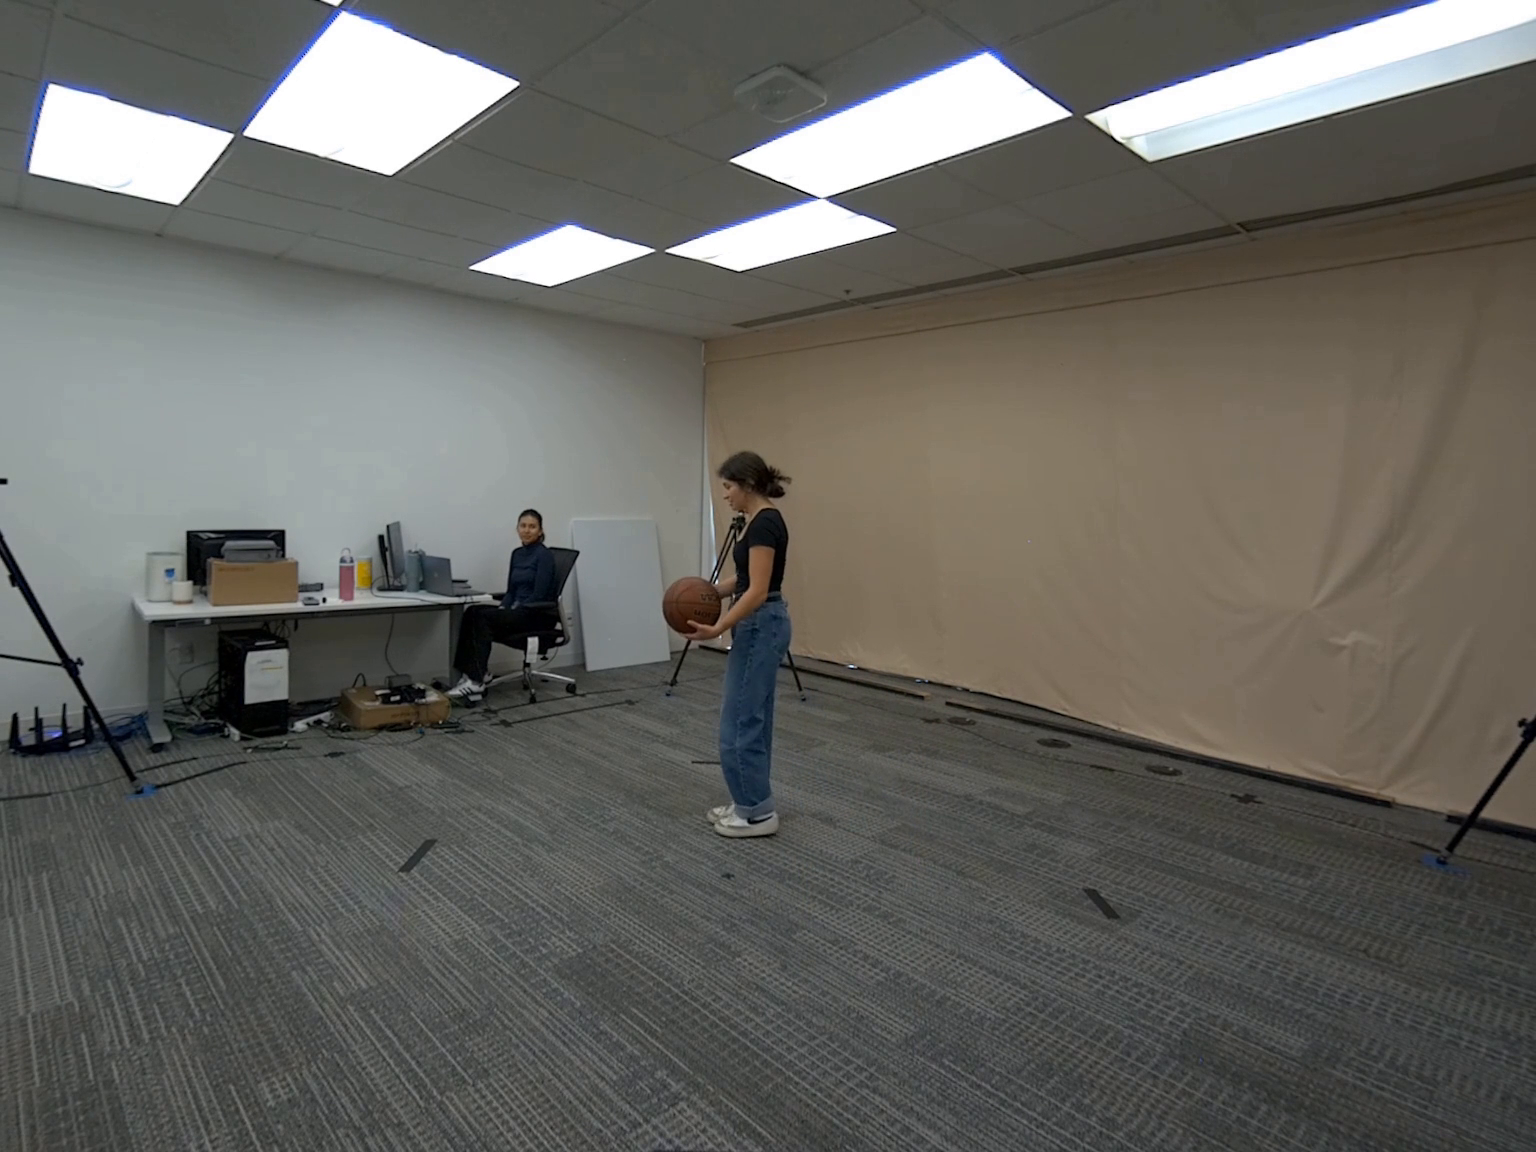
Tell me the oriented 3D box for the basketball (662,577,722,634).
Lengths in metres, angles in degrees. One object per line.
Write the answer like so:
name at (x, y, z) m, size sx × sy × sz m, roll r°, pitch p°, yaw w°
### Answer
basketball at (-0.311, 0.121, 3.376) m, size 0.236 × 0.235 × 0.237 m, roll 1°, pitch 4°, yaw -1°
